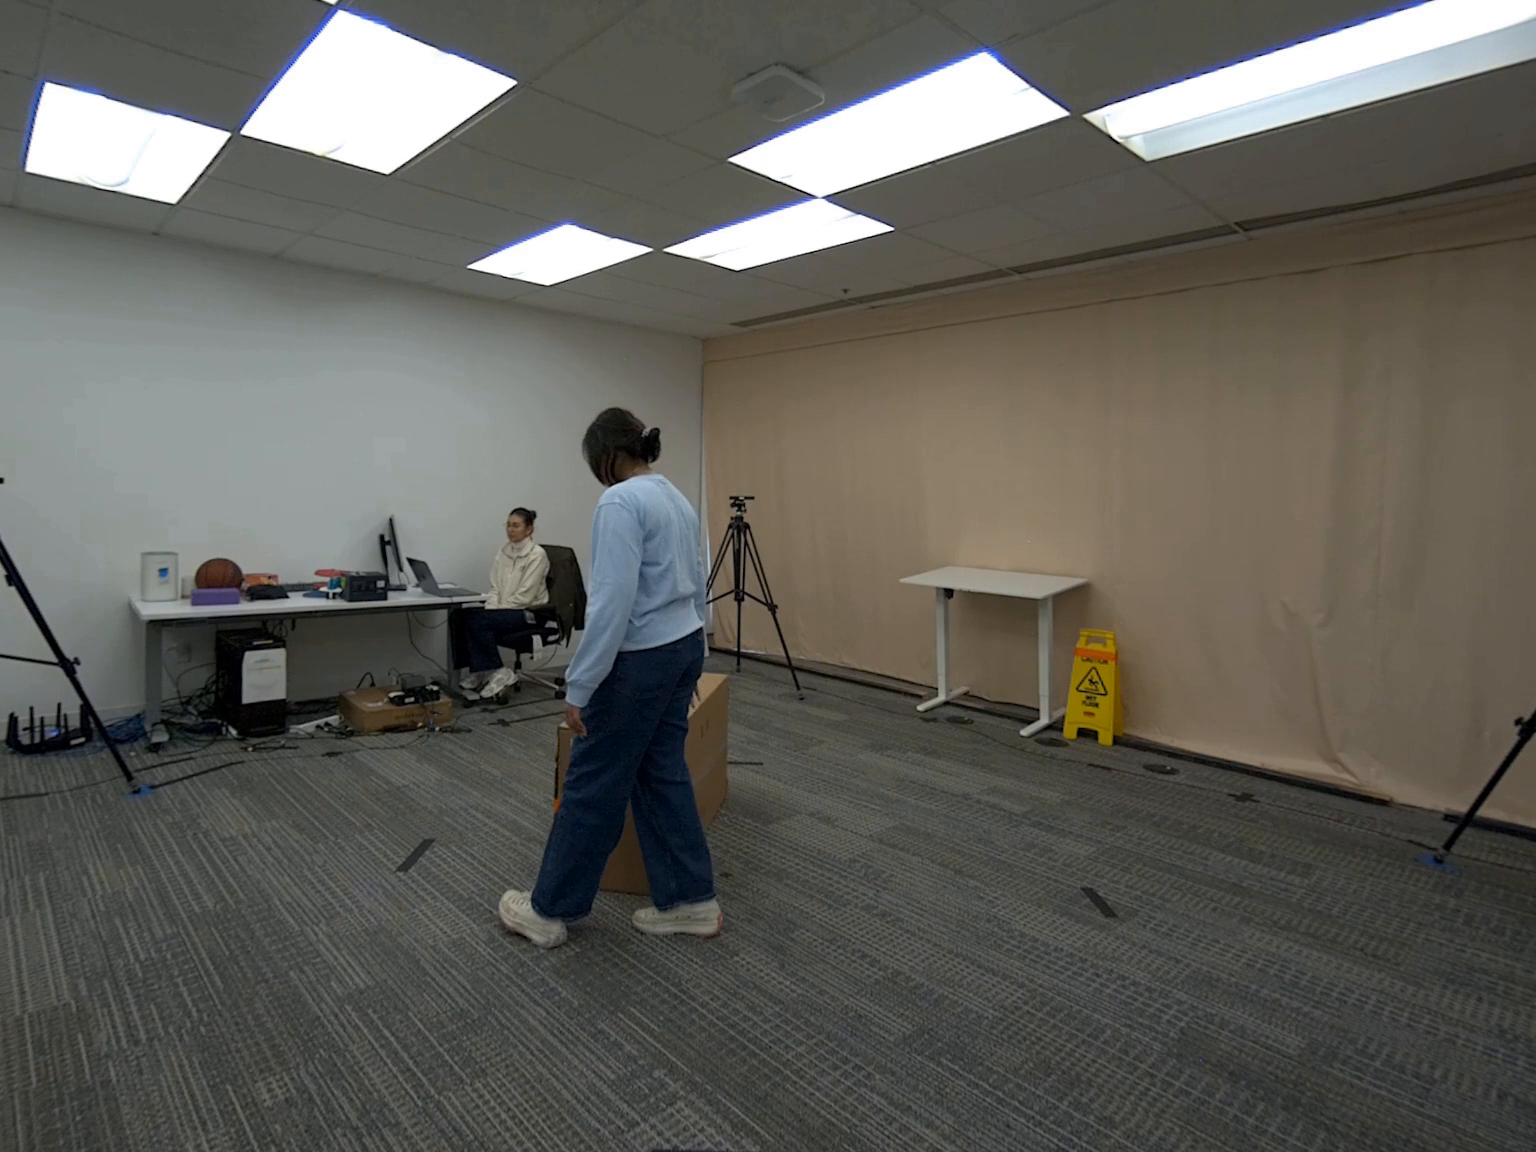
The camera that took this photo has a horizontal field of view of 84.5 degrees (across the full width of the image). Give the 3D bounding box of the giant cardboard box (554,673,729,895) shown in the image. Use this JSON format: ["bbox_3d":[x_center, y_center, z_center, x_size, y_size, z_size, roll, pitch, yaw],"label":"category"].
[{"bbox_3d":[-0.479,0.778,3.447,0.429,0.576,1.021,1,5,8],"label":"giant cardboard box"}]
